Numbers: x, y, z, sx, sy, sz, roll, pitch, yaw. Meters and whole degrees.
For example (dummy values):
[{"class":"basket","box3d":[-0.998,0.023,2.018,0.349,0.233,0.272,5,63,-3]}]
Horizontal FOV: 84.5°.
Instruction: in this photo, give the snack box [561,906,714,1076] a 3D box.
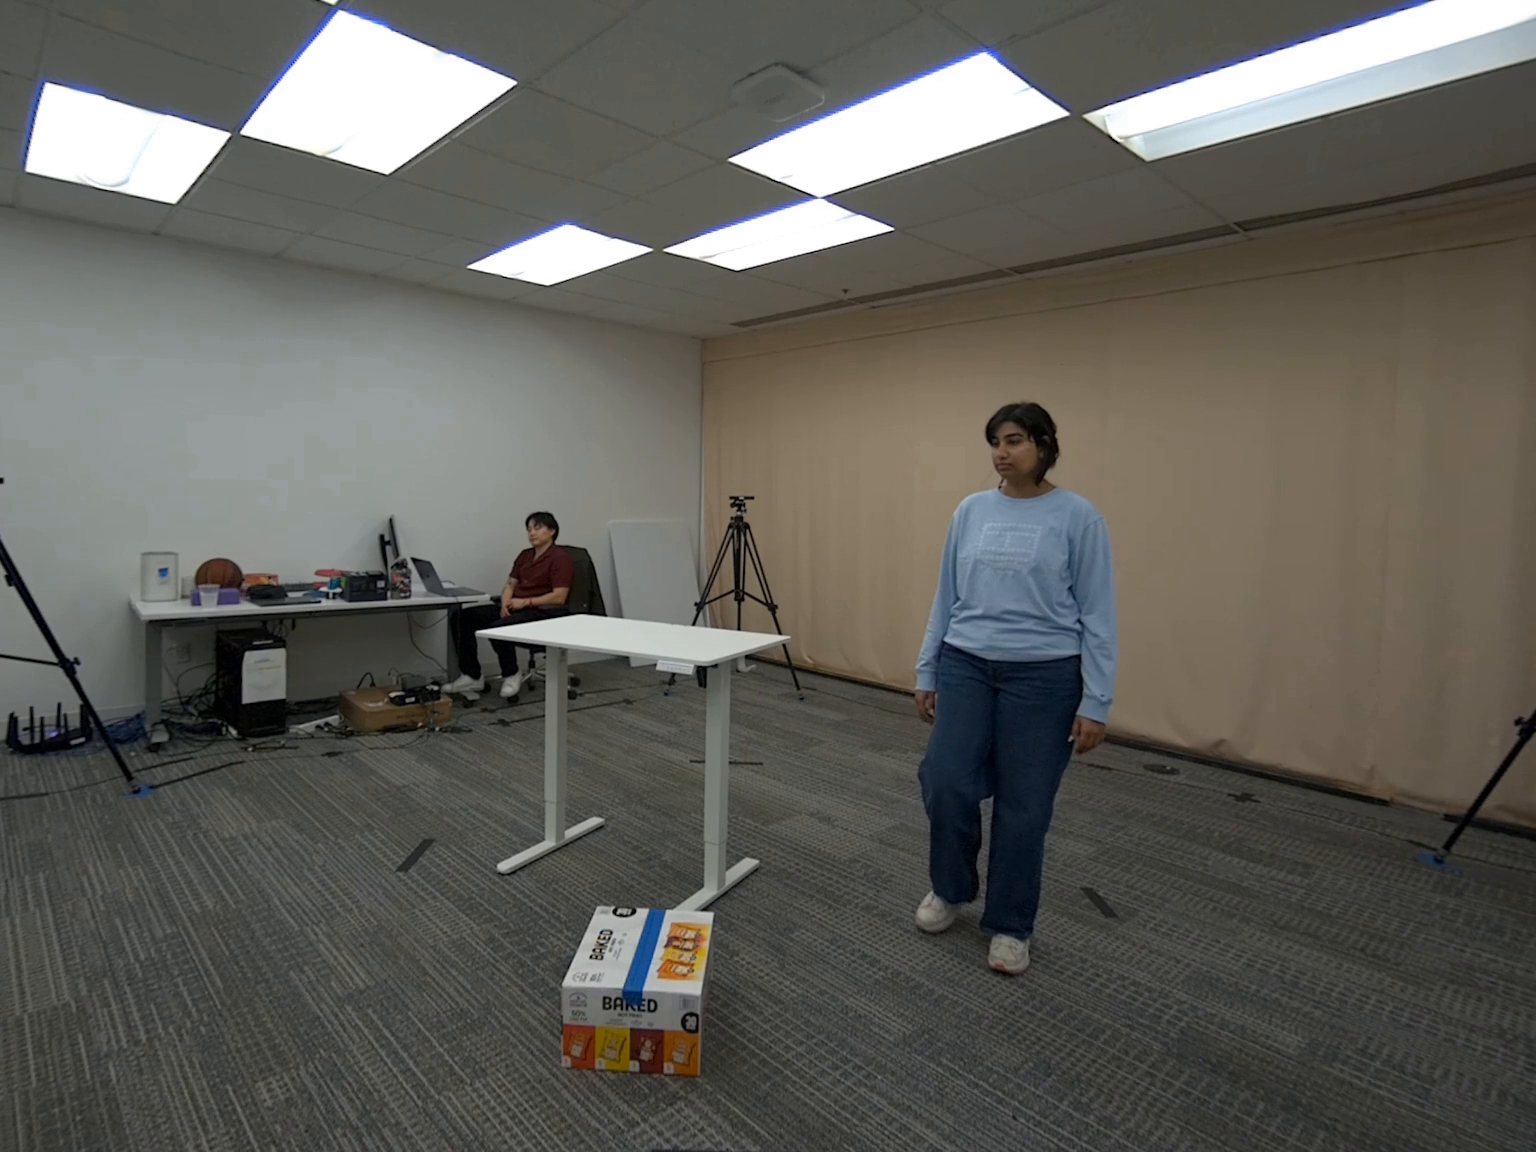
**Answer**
[{"class":"snack box","box3d":[-0.329,1.075,2.230,0.341,0.205,0.405,2,5,2]}]
